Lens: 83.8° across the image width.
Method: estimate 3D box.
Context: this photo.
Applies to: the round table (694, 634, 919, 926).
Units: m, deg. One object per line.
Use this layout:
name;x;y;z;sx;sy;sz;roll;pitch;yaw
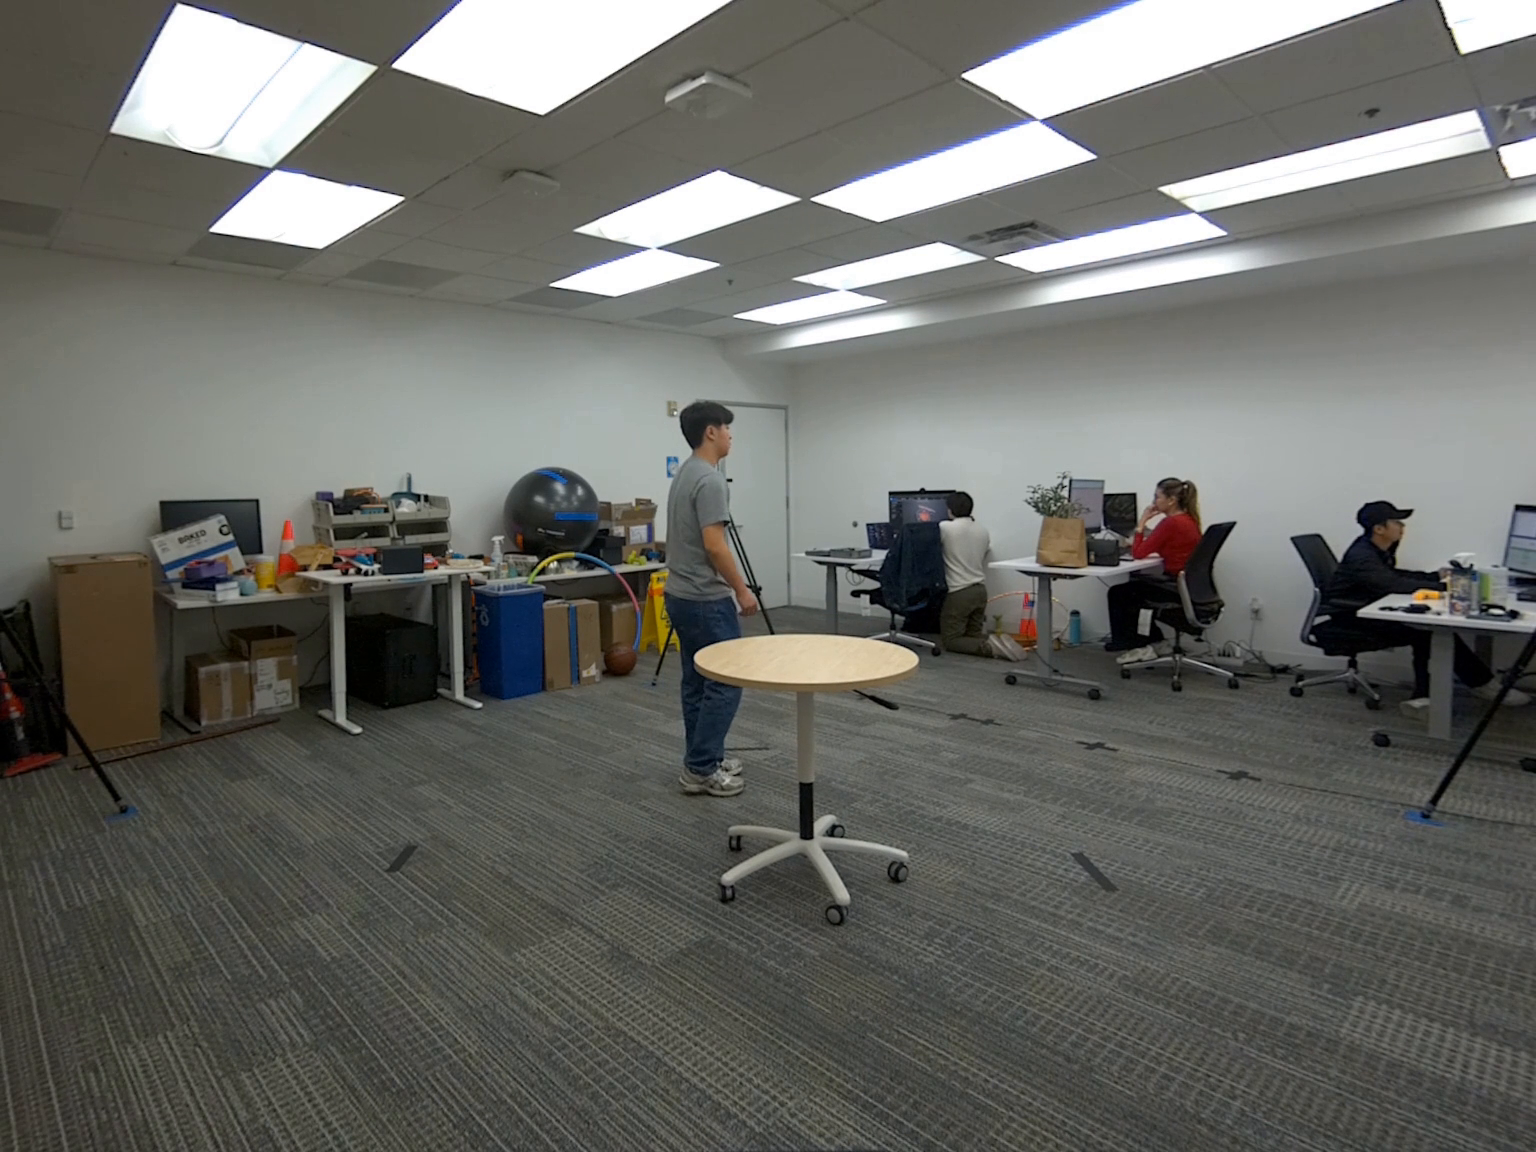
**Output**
round table;0.134;0.668;2.970;0.763;0.791;0.768;-1;5;-2
